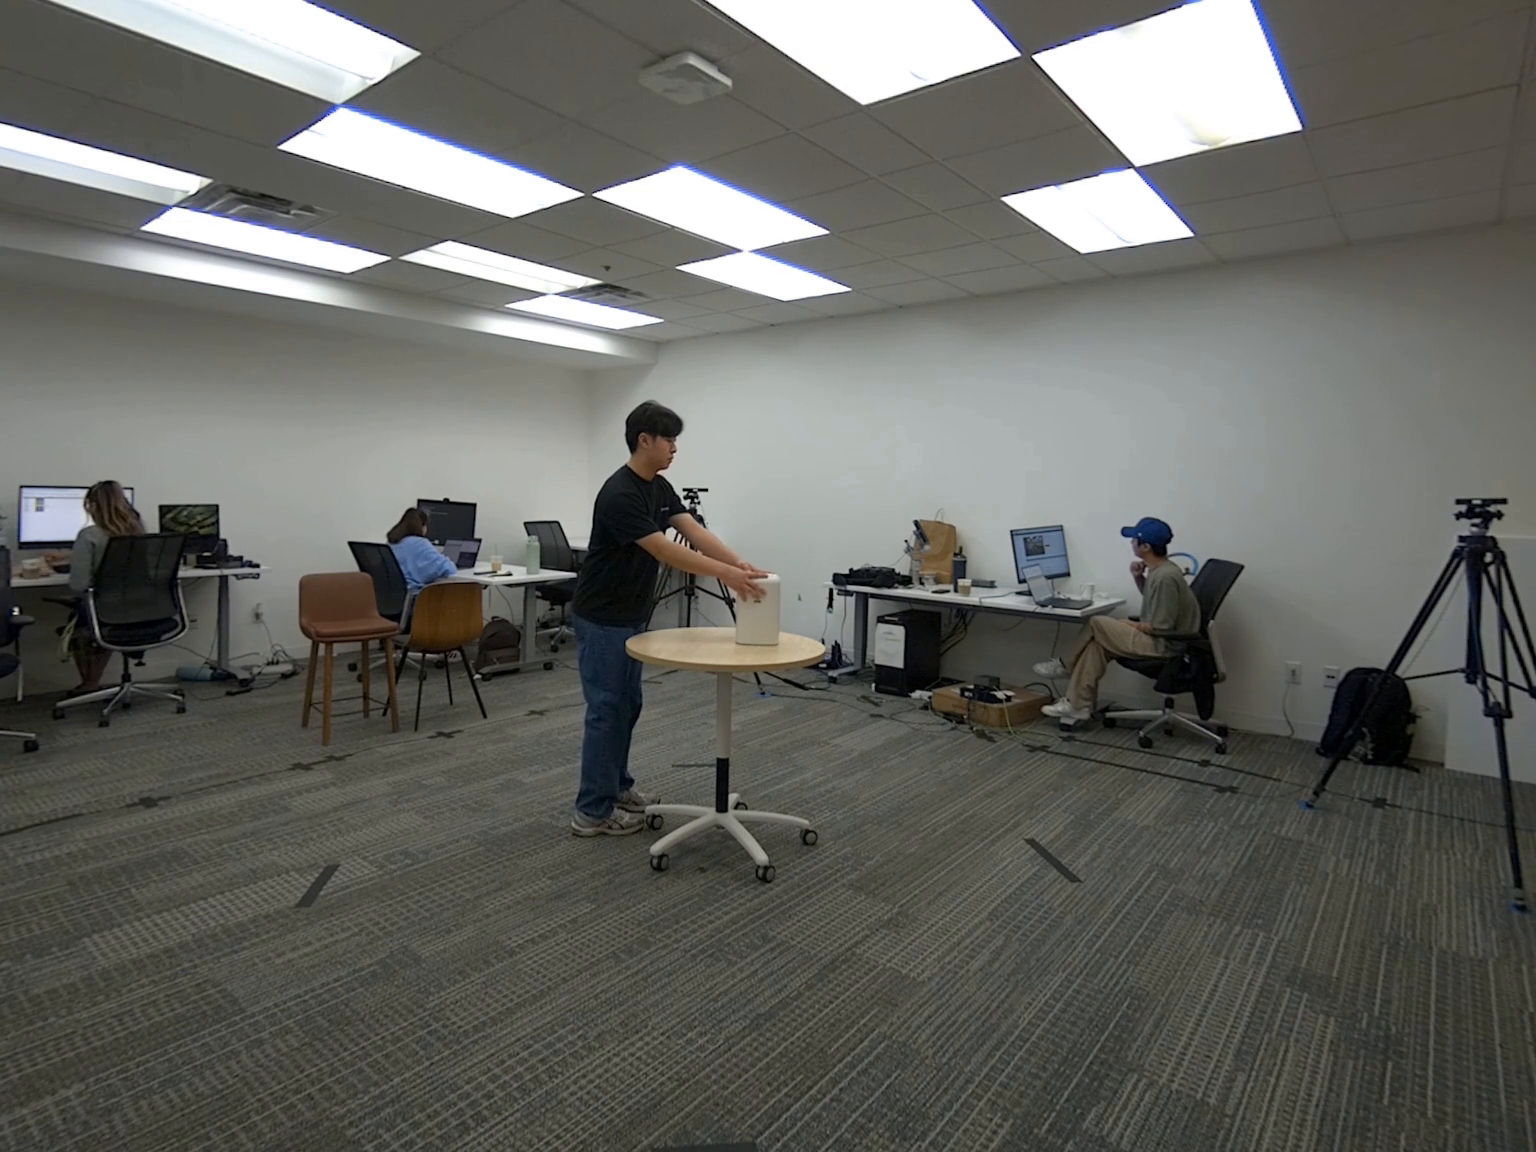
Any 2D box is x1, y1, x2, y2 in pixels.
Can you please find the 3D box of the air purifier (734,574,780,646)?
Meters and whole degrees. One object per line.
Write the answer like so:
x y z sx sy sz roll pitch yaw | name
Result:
-0.051 0.125 3.338 0.171 0.264 0.172 1 3 2 | air purifier
